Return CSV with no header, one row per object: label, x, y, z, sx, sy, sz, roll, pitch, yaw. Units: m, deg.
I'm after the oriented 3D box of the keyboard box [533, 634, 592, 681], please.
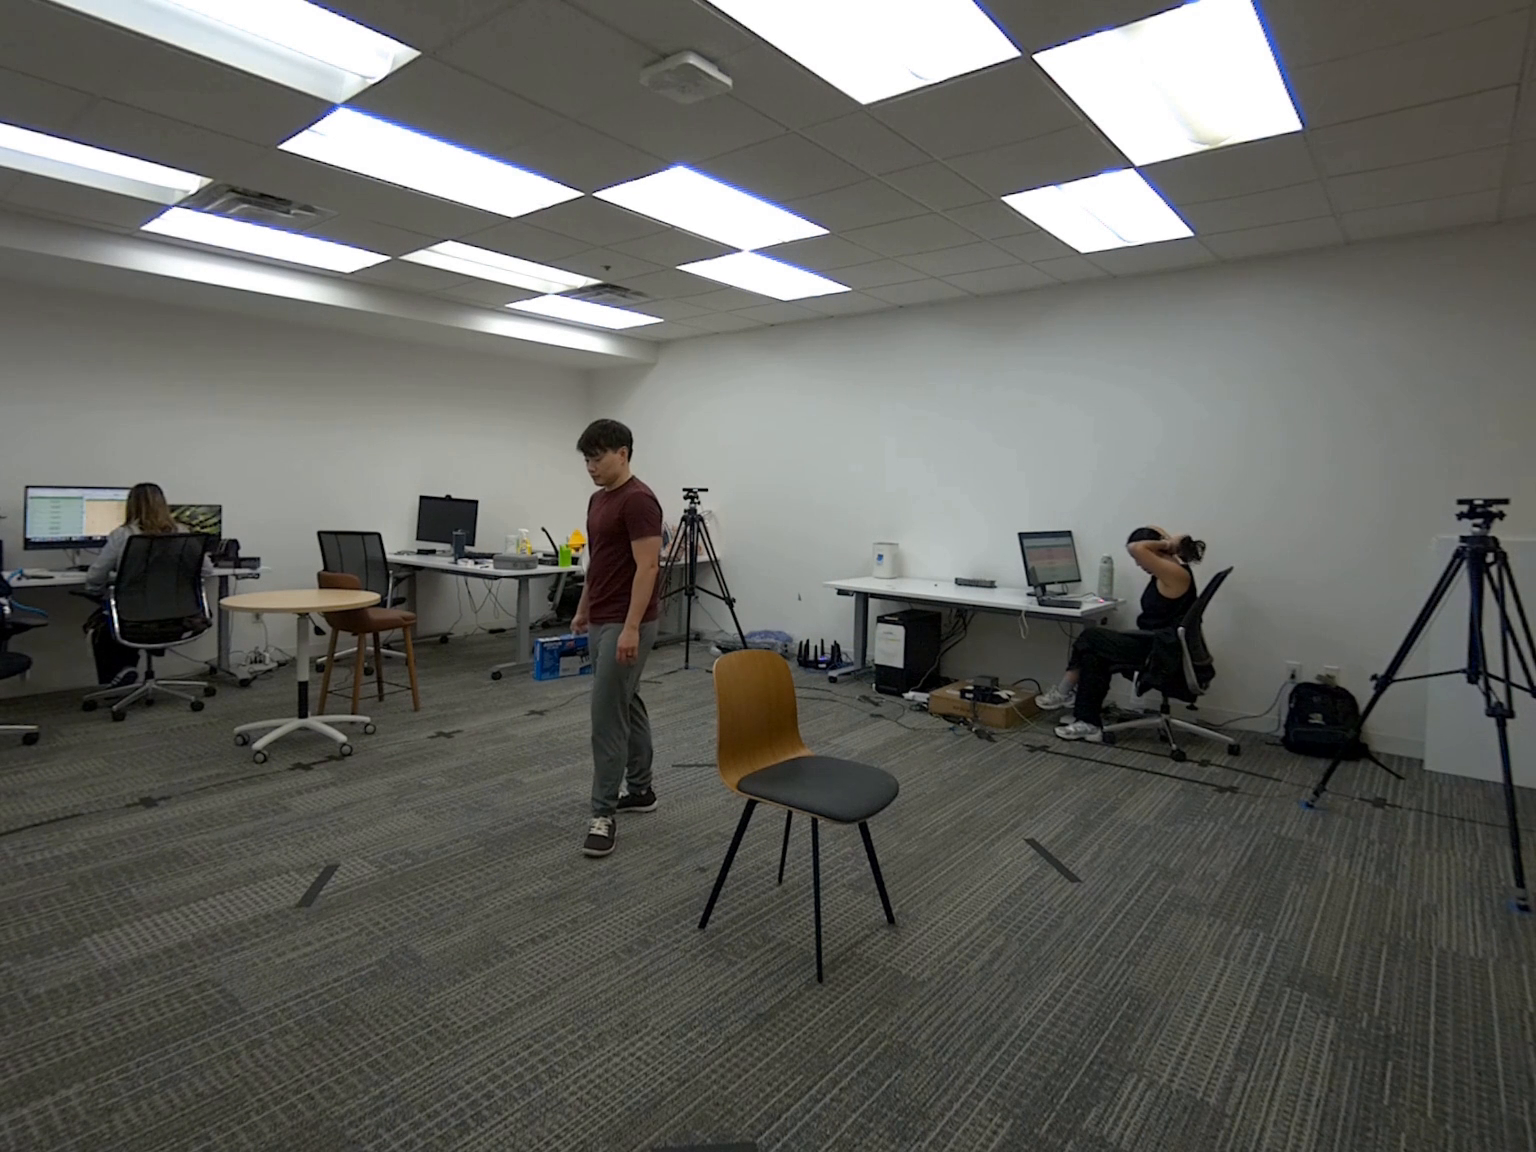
keyboard box,-0.844,0.346,3.769,0.423,0.175,0.061,-3,6,-42
